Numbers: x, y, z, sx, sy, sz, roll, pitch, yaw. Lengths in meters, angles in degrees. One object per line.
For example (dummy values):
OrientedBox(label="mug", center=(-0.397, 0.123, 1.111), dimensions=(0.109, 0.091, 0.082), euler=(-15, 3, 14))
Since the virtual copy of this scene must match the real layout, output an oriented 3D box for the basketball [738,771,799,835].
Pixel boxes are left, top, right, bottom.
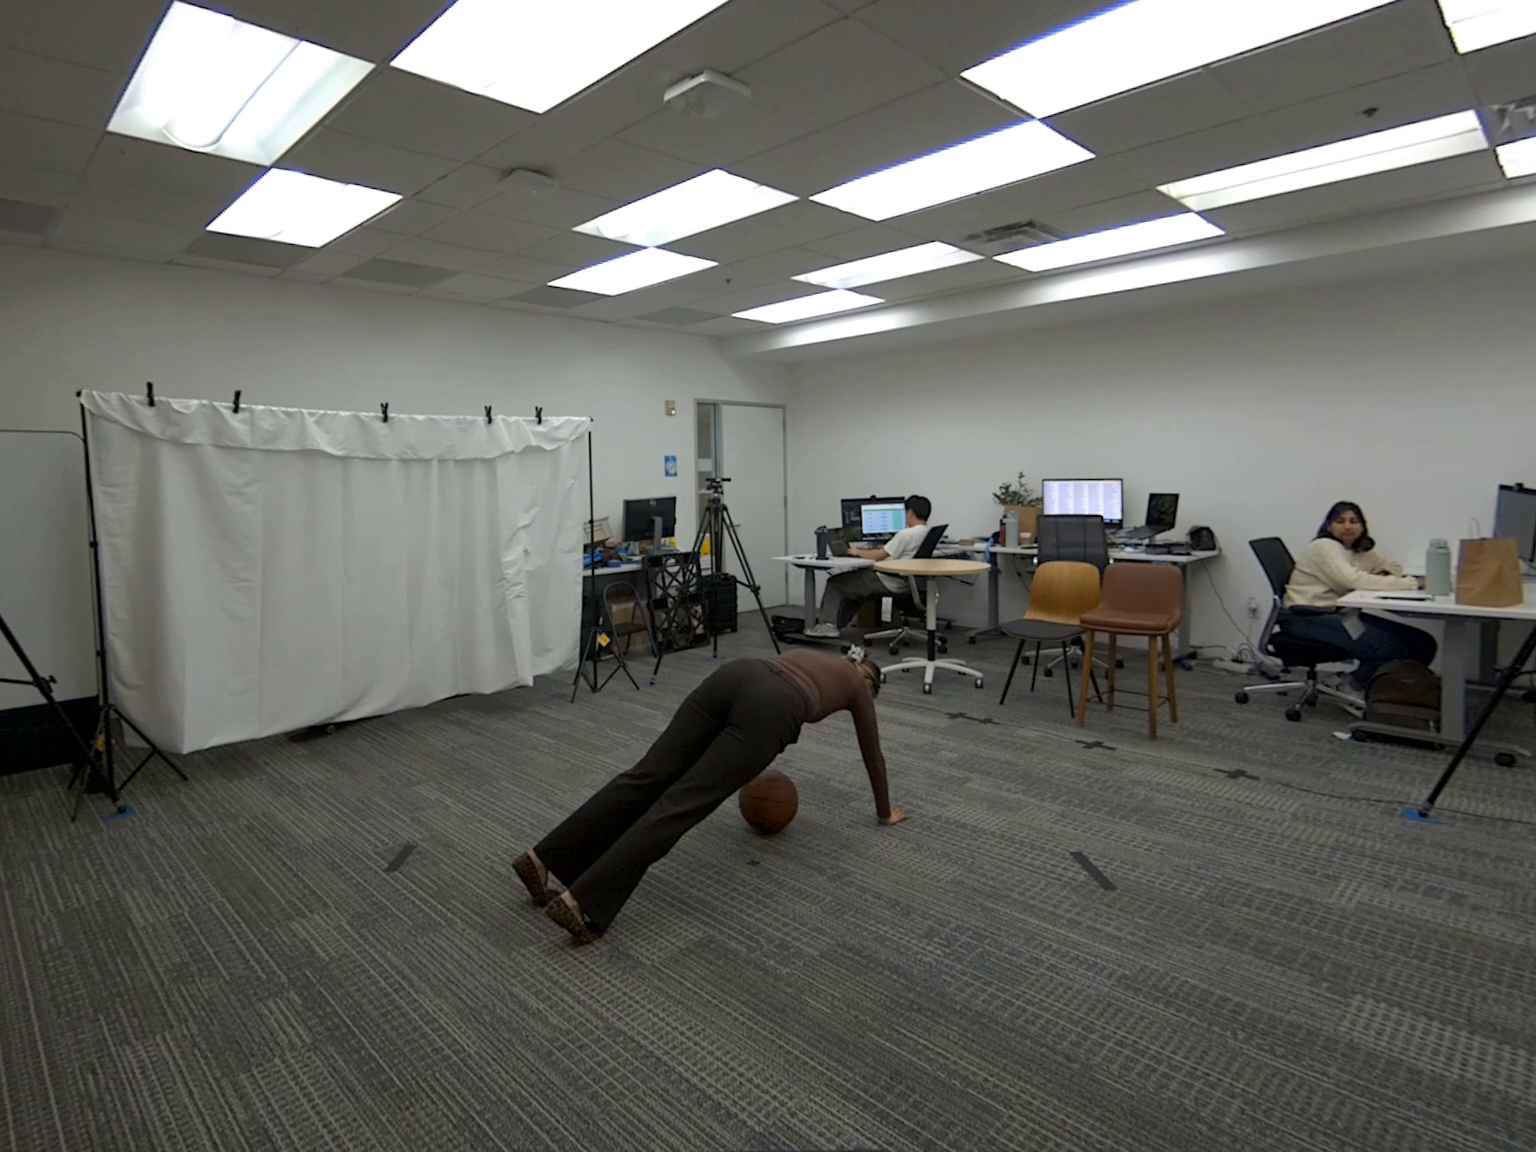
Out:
OrientedBox(label="basketball", center=(-0.002, 0.887, 3.394), dimensions=(0.236, 0.235, 0.237), euler=(-1, 5, -2))
